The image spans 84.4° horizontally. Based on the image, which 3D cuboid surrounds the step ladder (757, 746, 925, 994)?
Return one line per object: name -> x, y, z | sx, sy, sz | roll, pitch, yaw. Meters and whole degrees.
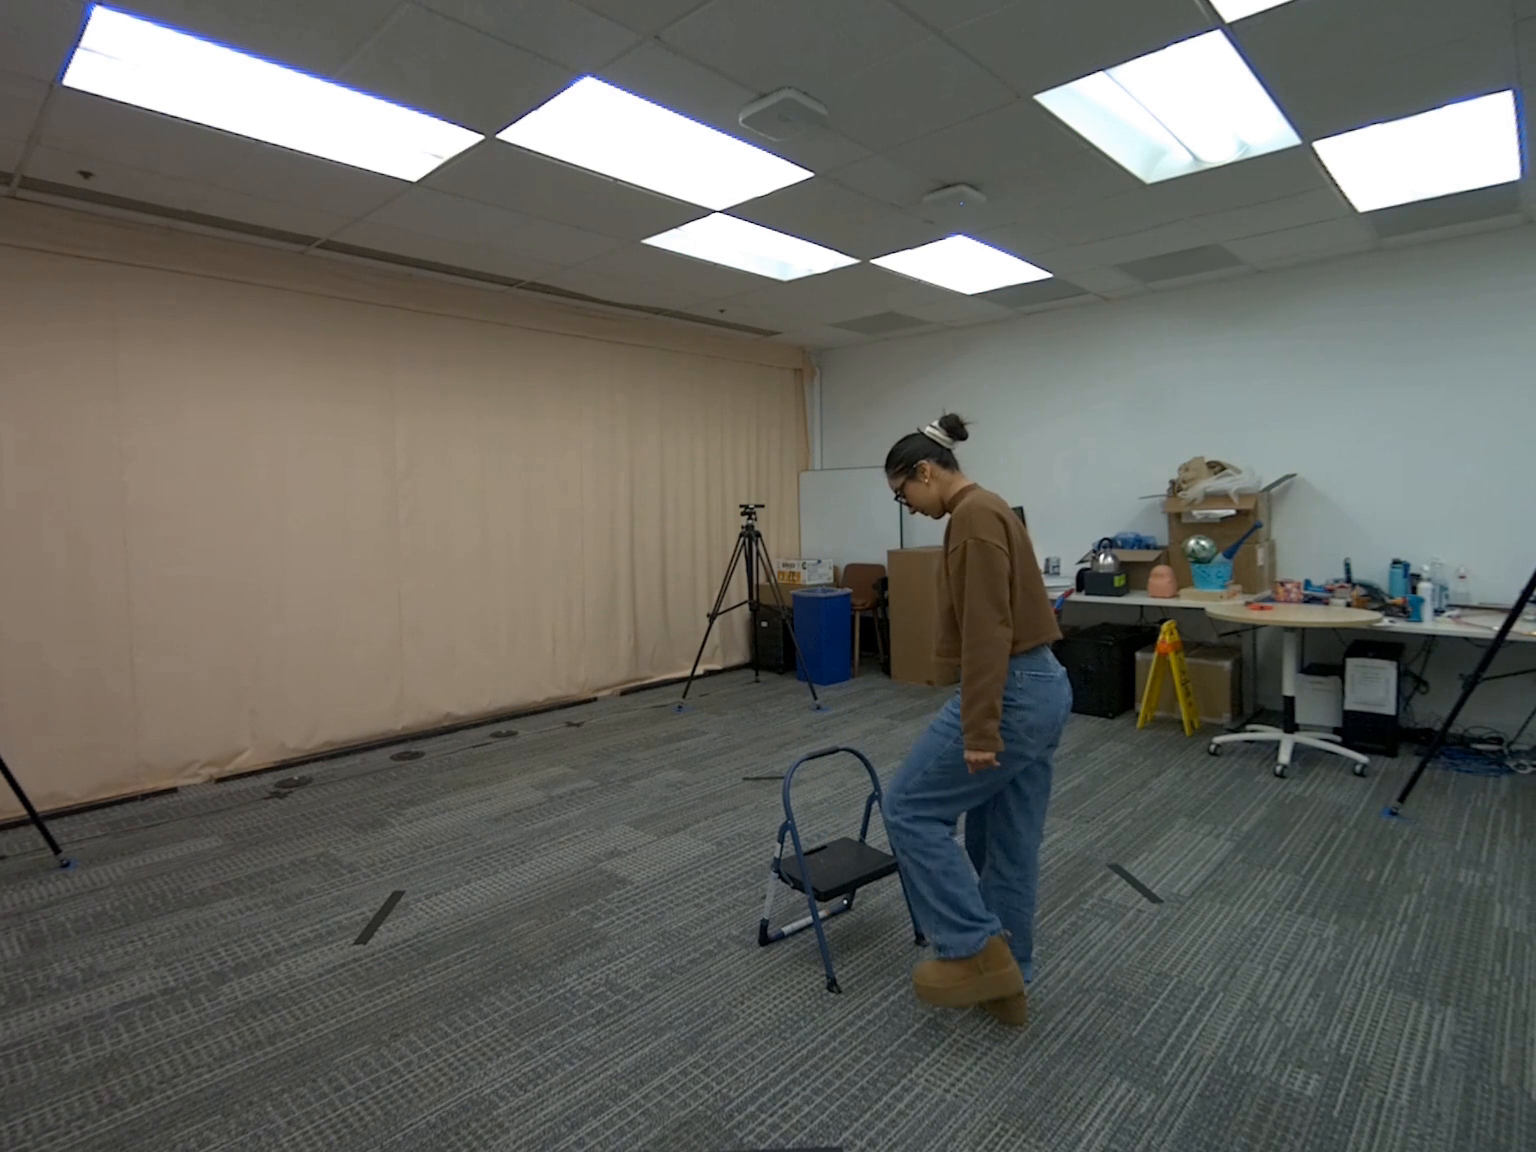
step ladder -> 0.233, 0.861, 2.639 | 0.418, 0.605, 0.361 | -4, 4, -40
